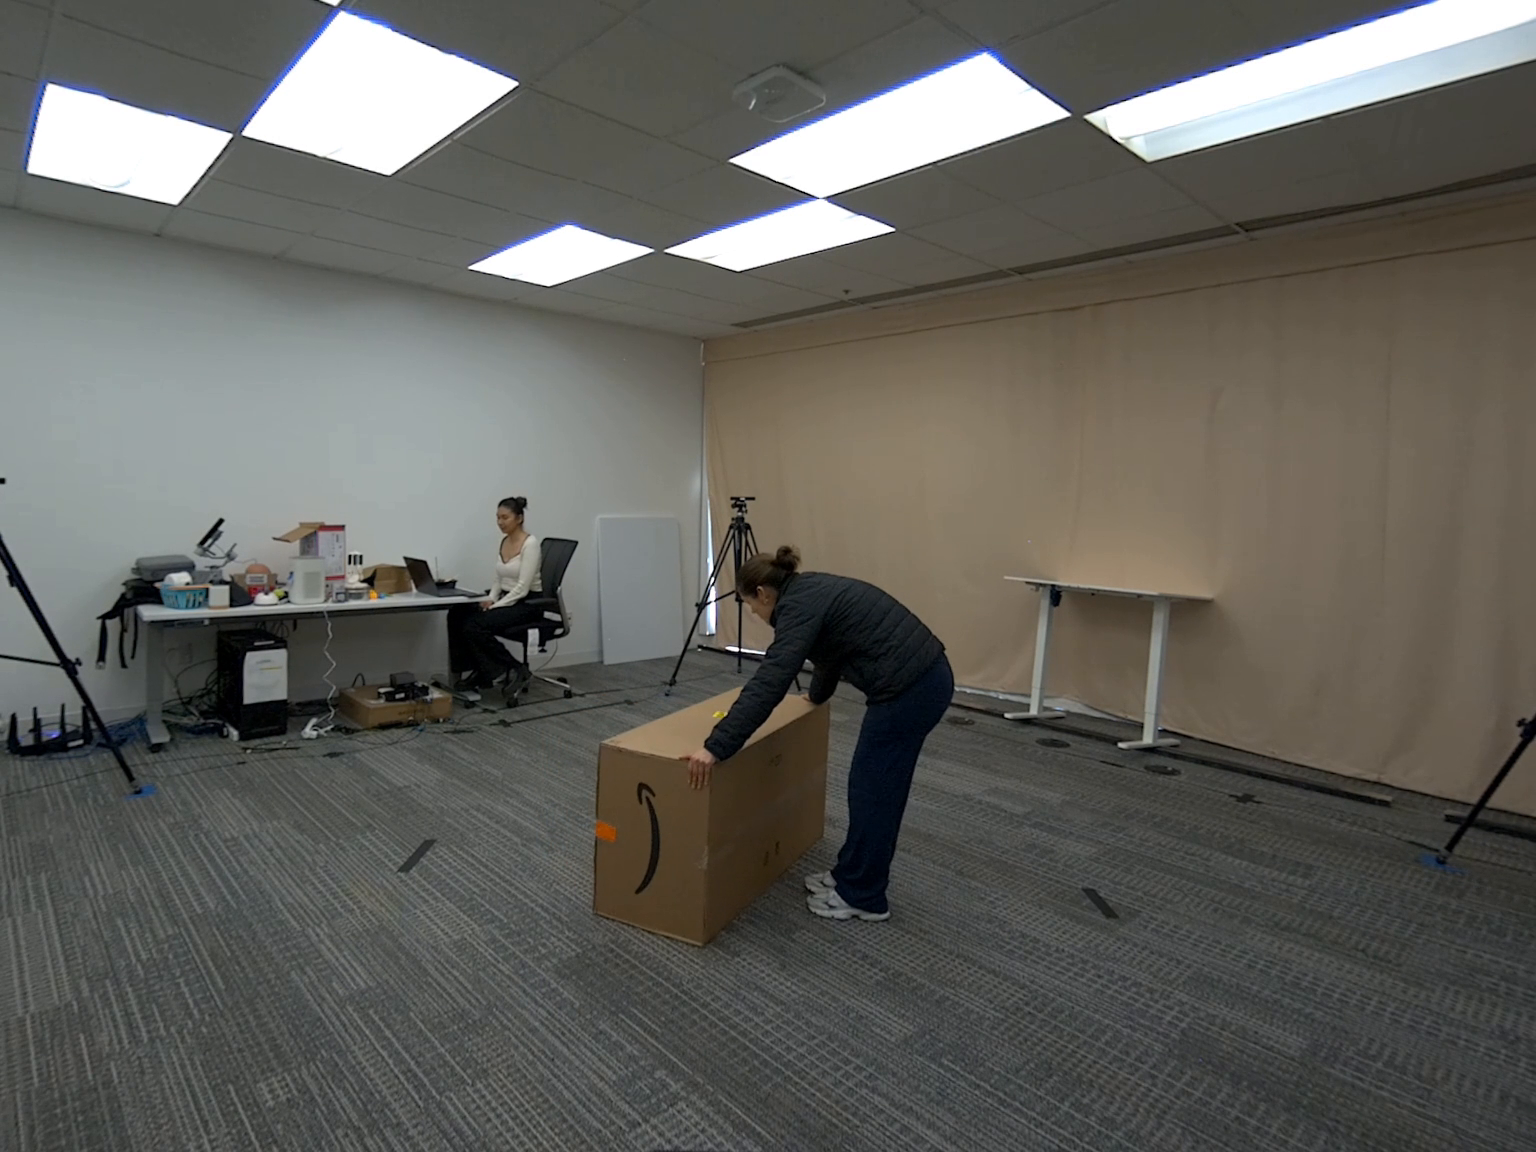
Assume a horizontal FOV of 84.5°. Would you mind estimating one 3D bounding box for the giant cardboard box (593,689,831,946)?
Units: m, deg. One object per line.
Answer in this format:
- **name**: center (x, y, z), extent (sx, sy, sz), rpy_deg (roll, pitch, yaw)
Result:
- **giant cardboard box**: center (-0.164, 0.816, 3.122), extent (0.455, 0.582, 1.010), rpy_deg (4, 5, 24)
